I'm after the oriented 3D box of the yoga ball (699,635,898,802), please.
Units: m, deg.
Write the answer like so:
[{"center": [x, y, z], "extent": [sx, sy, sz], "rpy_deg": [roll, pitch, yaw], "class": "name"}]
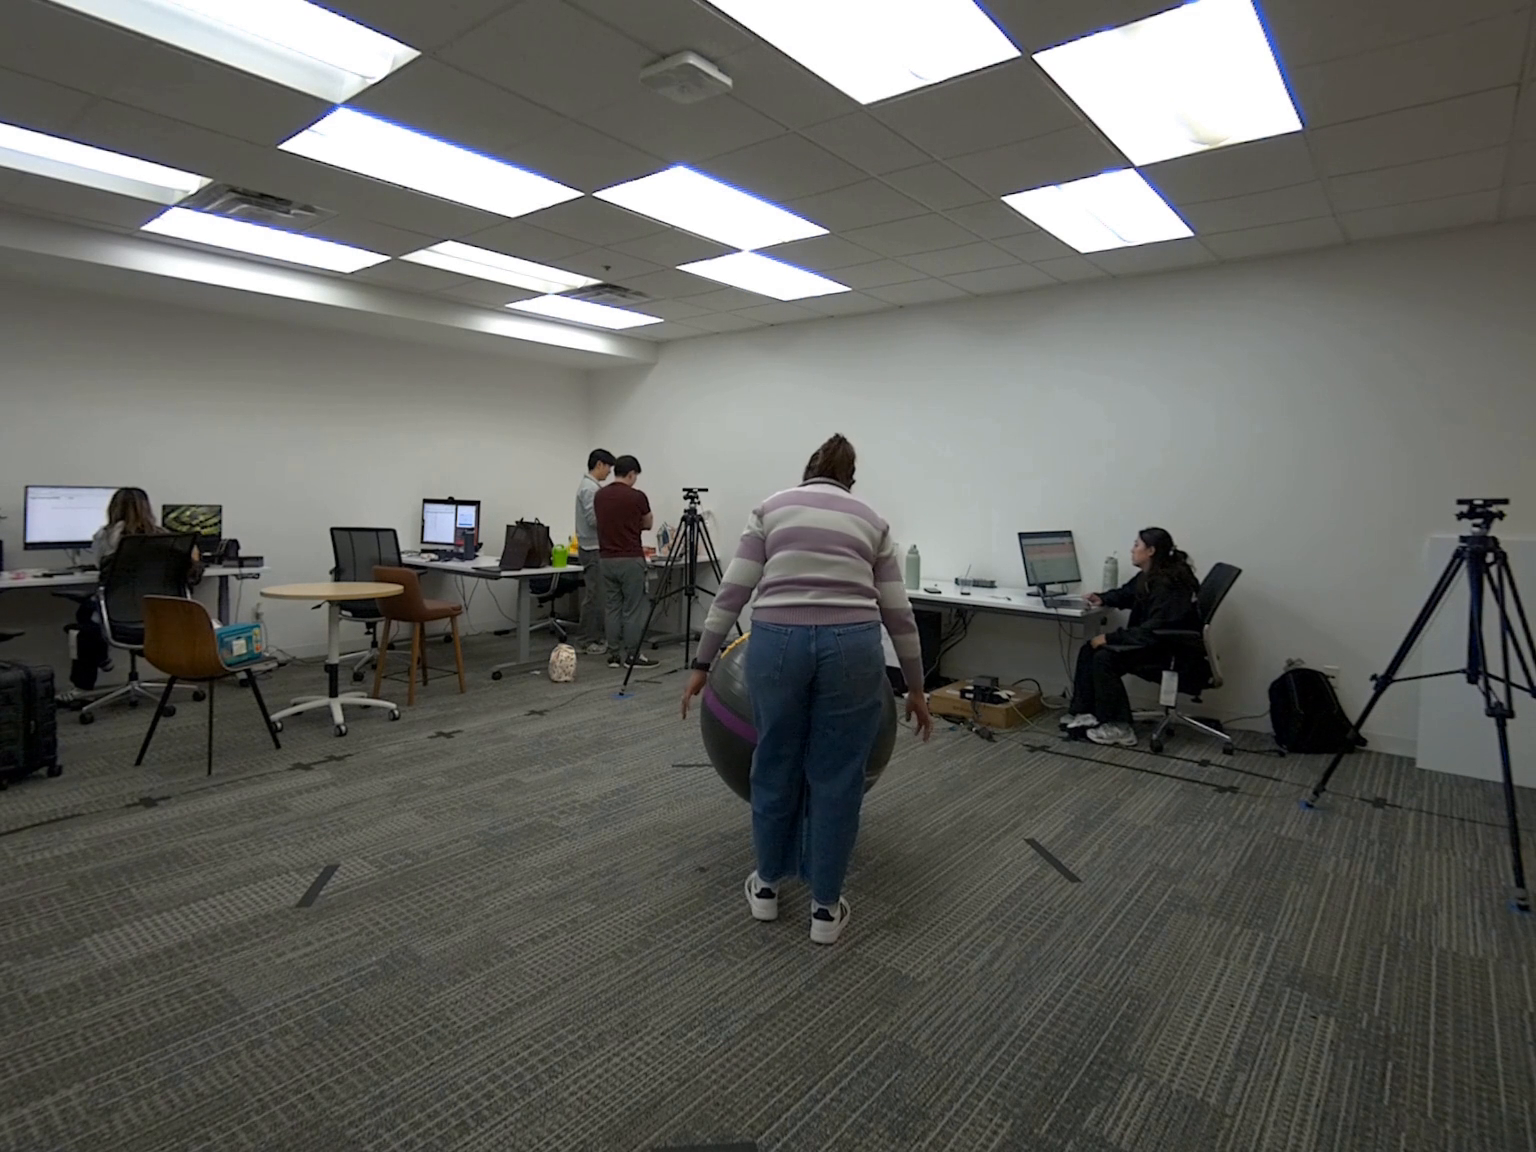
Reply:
[{"center": [0.115, 0.544, 3.317], "extent": [0.757, 0.756, 0.762], "rpy_deg": [1, 4, -2], "class": "yoga ball"}]
